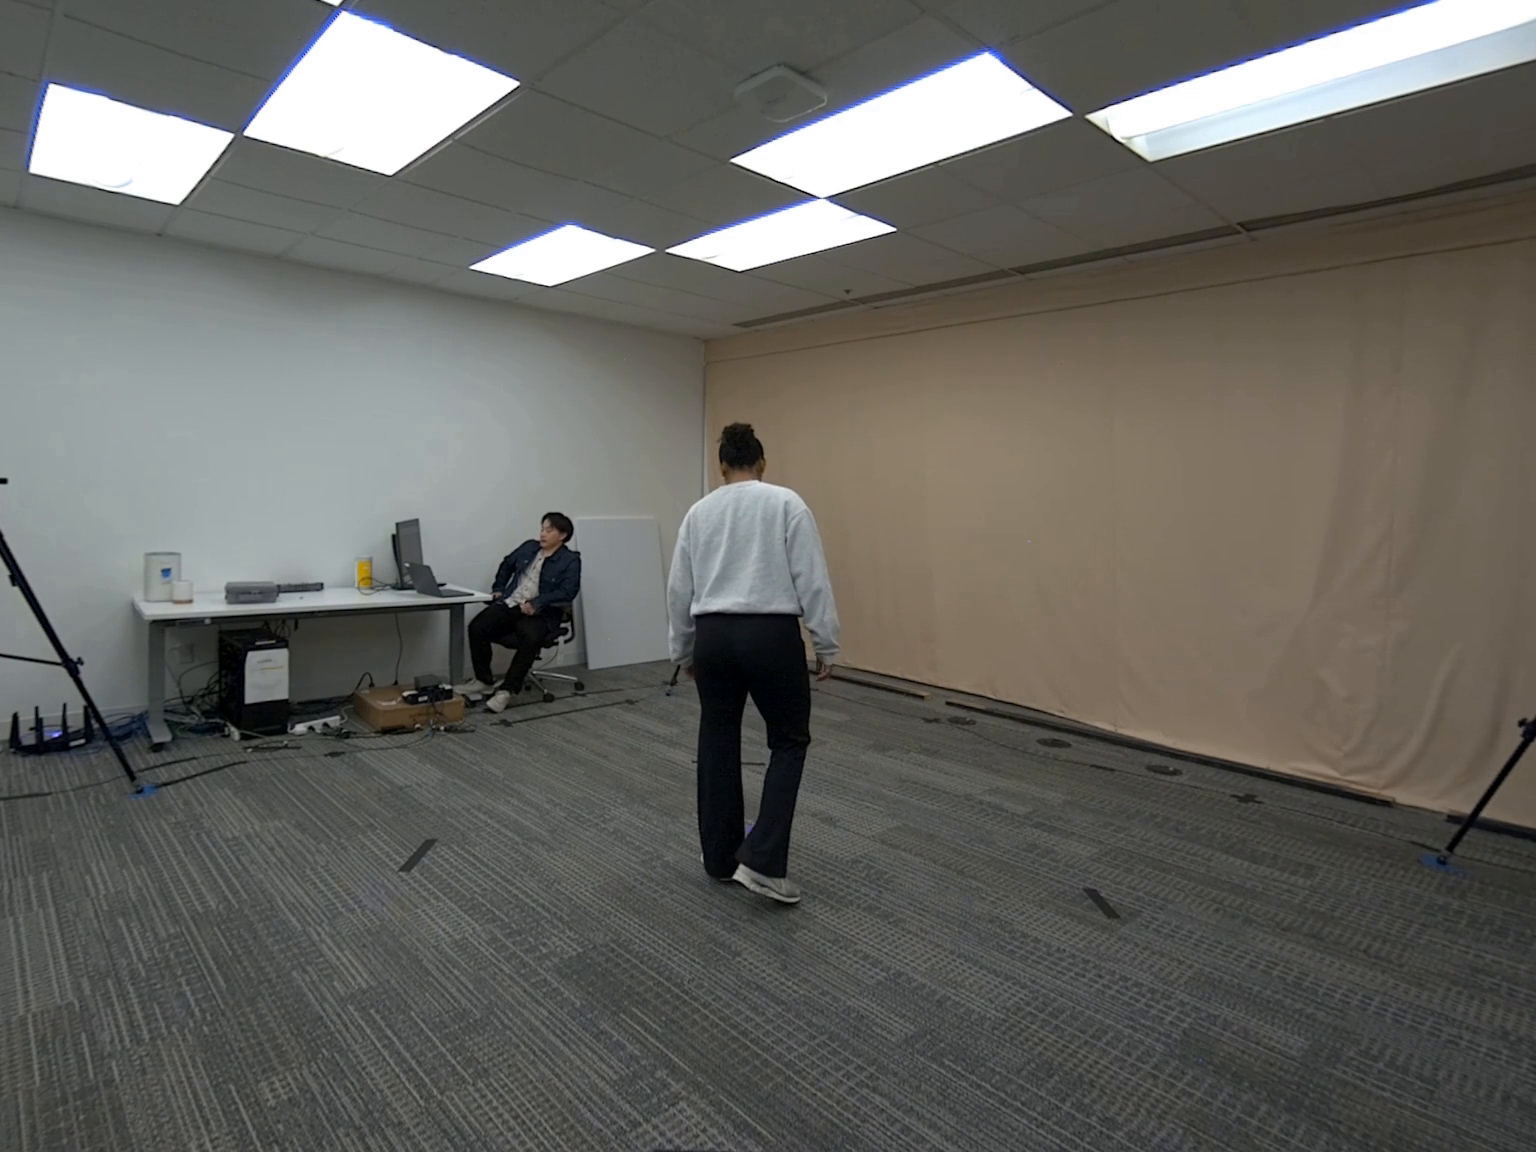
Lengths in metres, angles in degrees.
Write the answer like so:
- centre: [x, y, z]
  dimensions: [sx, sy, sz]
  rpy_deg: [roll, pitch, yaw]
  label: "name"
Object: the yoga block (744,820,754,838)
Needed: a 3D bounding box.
- centre: [-0.064, 1.052, 3.285]
  dimensions: [0.149, 0.076, 0.229]
  rpy_deg: [-1, 5, 3]
  label: "yoga block"
